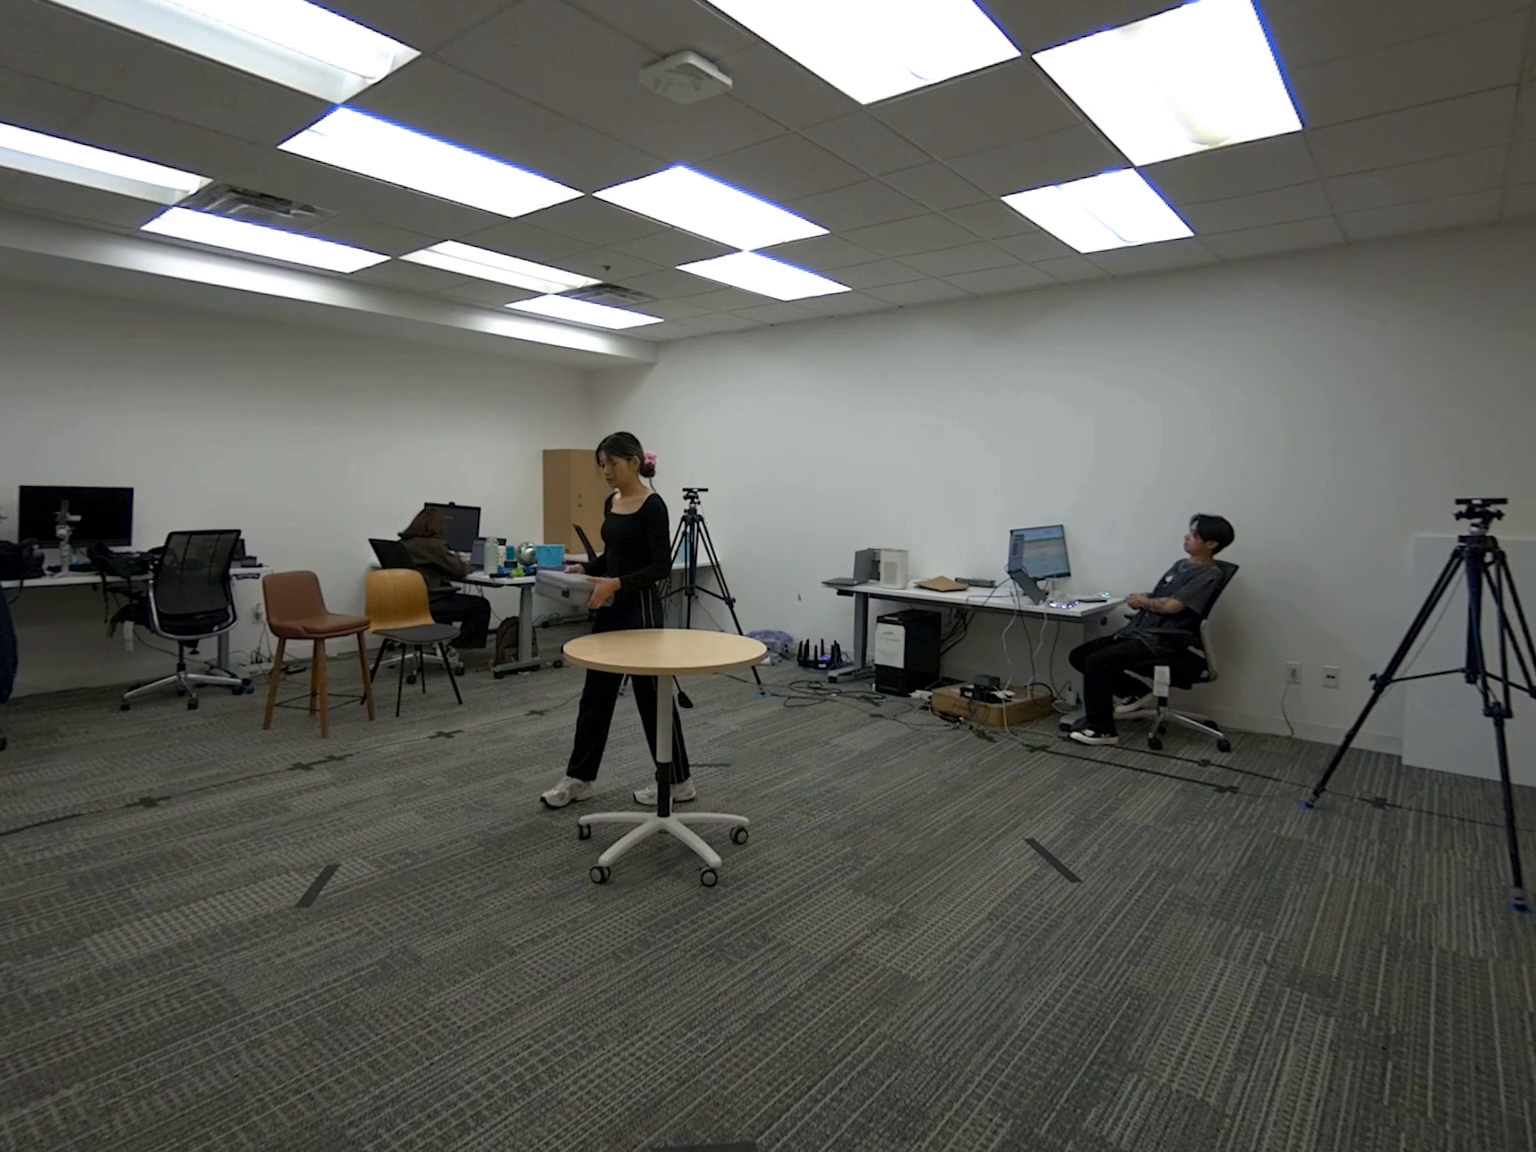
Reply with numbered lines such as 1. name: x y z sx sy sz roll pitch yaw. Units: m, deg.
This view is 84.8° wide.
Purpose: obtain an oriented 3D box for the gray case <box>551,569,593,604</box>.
1. gray case: -0.751 0.051 3.534 0.254 0.104 0.264 9 1 -24
